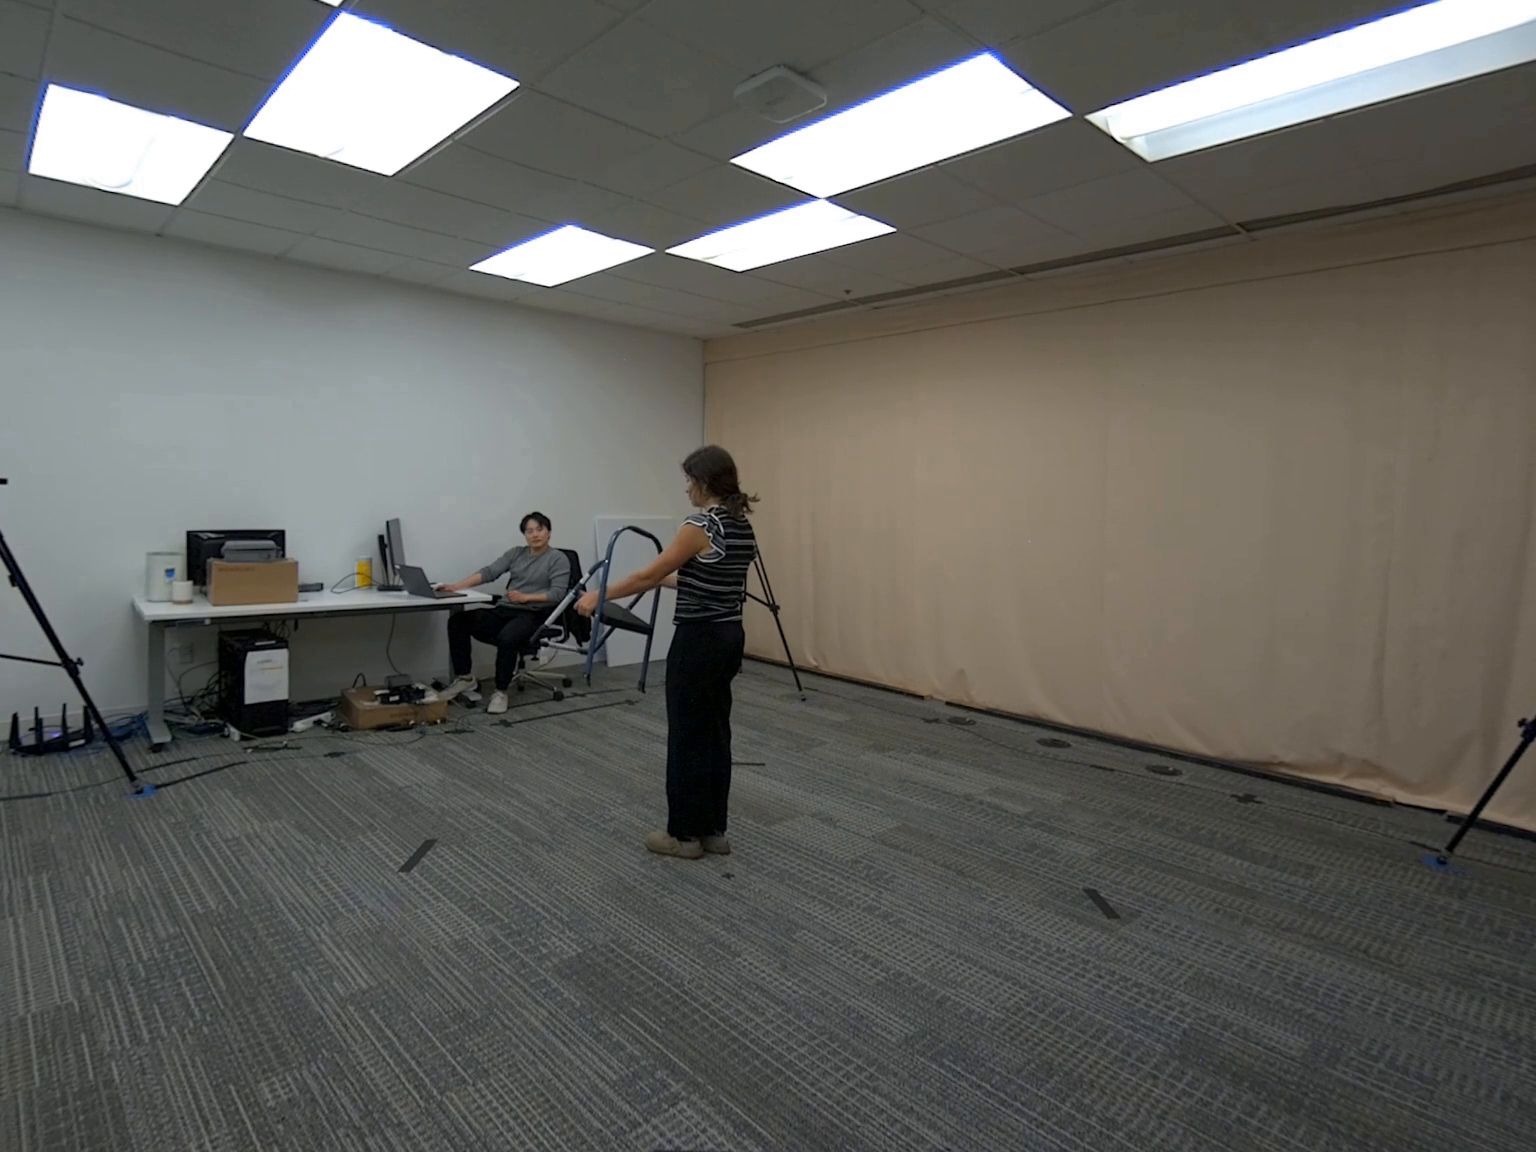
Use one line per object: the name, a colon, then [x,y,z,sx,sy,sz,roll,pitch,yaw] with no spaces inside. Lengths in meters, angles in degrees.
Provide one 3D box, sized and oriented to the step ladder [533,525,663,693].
step ladder: [-0.602,0.113,3.447,0.358,0.606,0.419,28,0,28]
